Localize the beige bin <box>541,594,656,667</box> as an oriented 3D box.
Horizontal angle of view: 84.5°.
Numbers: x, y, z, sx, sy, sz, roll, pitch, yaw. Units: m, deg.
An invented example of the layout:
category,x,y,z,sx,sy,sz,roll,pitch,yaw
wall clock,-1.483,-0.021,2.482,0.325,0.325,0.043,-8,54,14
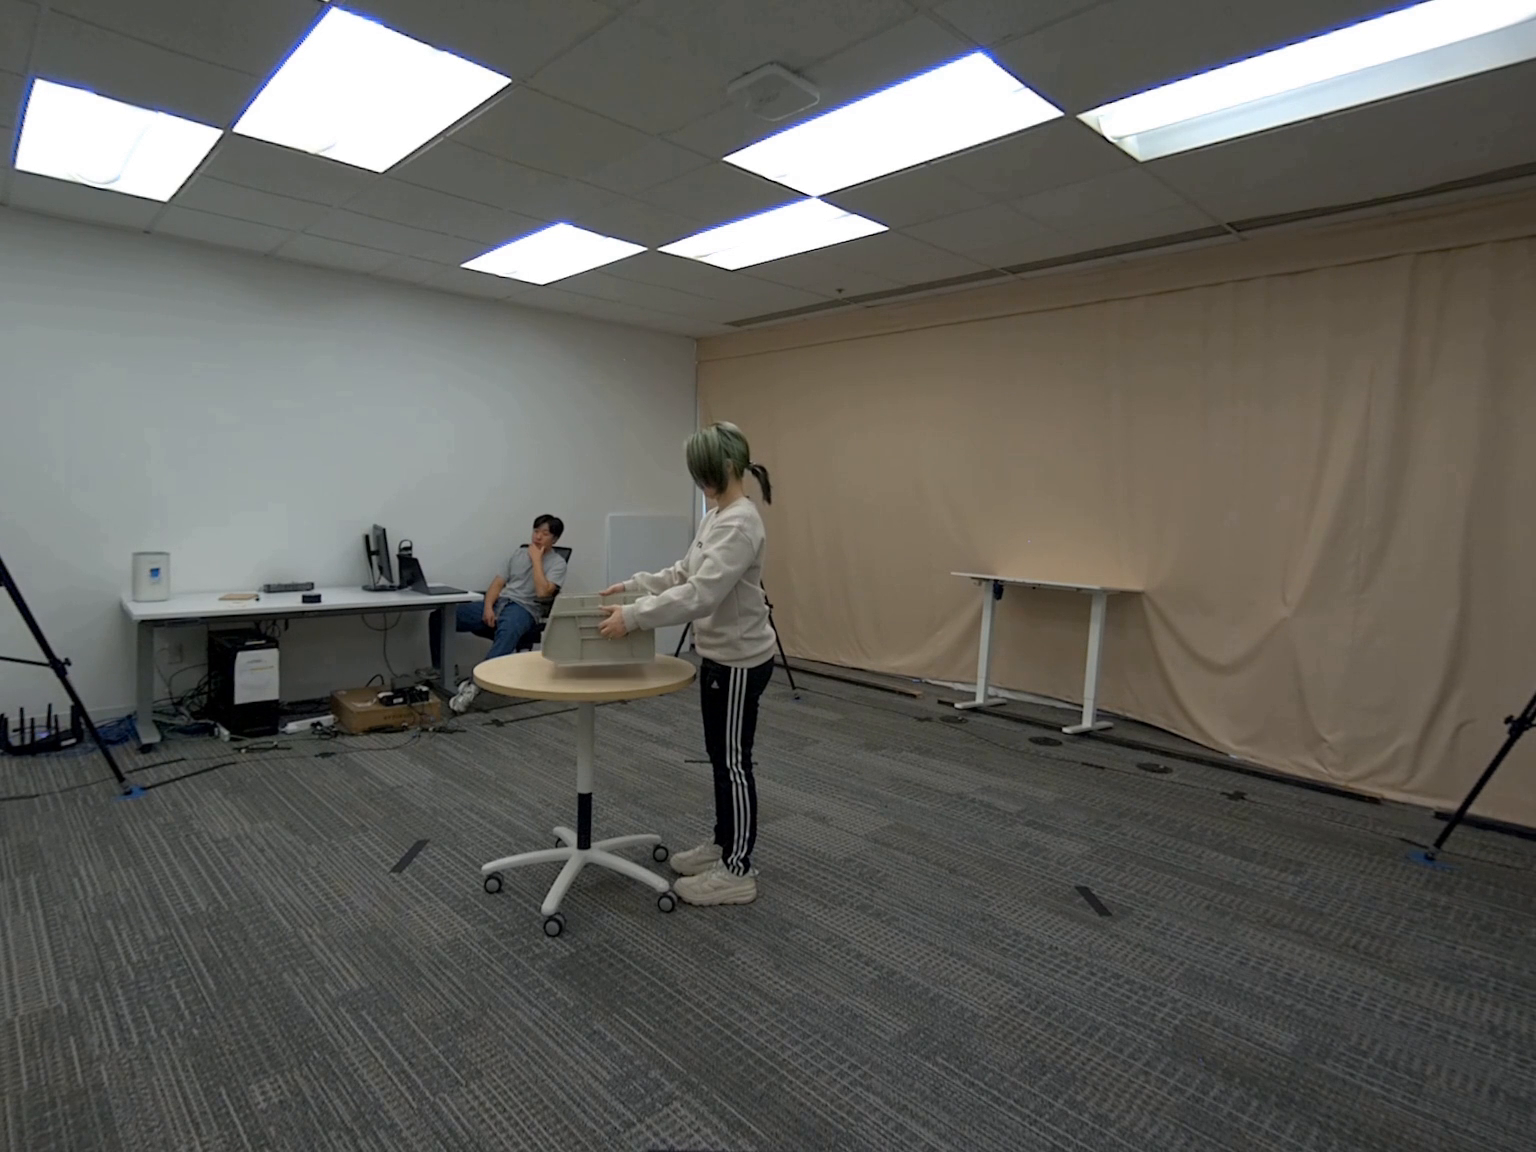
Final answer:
category,x,y,z,sx,sy,sz,roll,pitch,yaw
beige bin,-0.589,0.171,2.938,0.374,0.188,0.427,-1,6,-10
